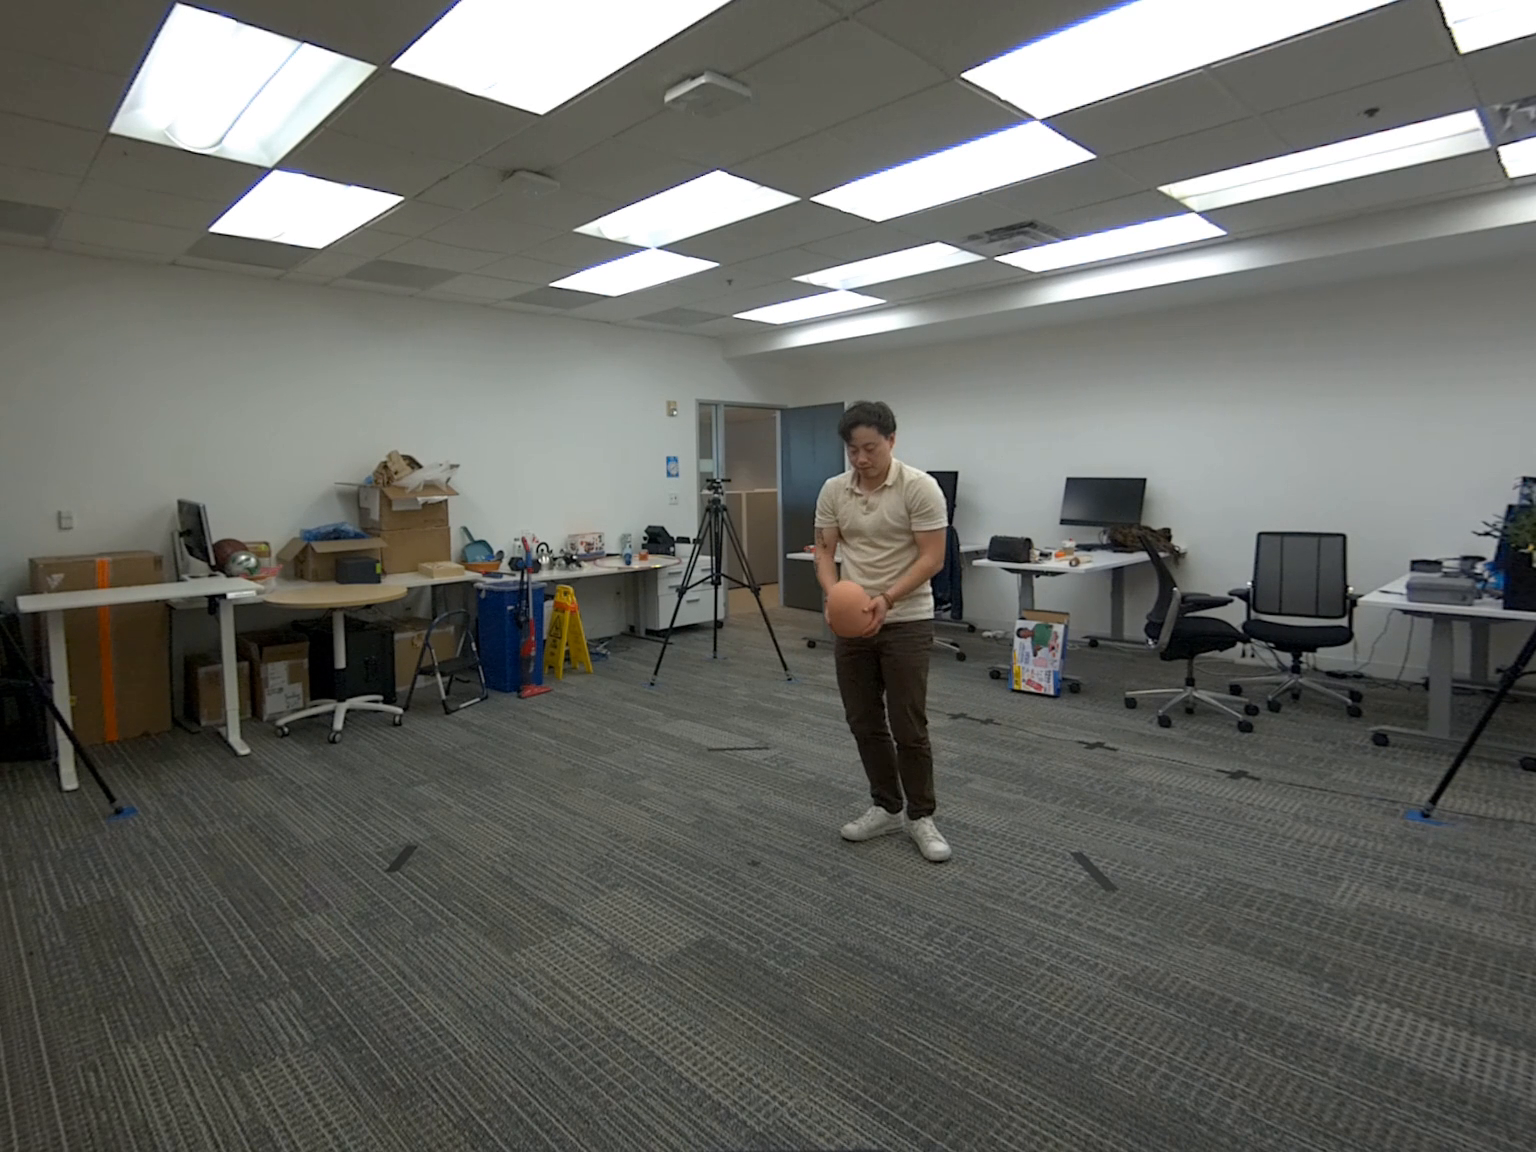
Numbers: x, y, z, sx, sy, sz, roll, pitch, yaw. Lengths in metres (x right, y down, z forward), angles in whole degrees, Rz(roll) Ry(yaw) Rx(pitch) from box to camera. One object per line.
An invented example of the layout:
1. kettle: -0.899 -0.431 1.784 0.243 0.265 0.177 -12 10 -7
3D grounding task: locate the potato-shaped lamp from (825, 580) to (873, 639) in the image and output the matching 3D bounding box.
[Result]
1. potato-shaped lamp: 0.296 0.099 3.013 0.168 0.195 0.171 -1 16 20
